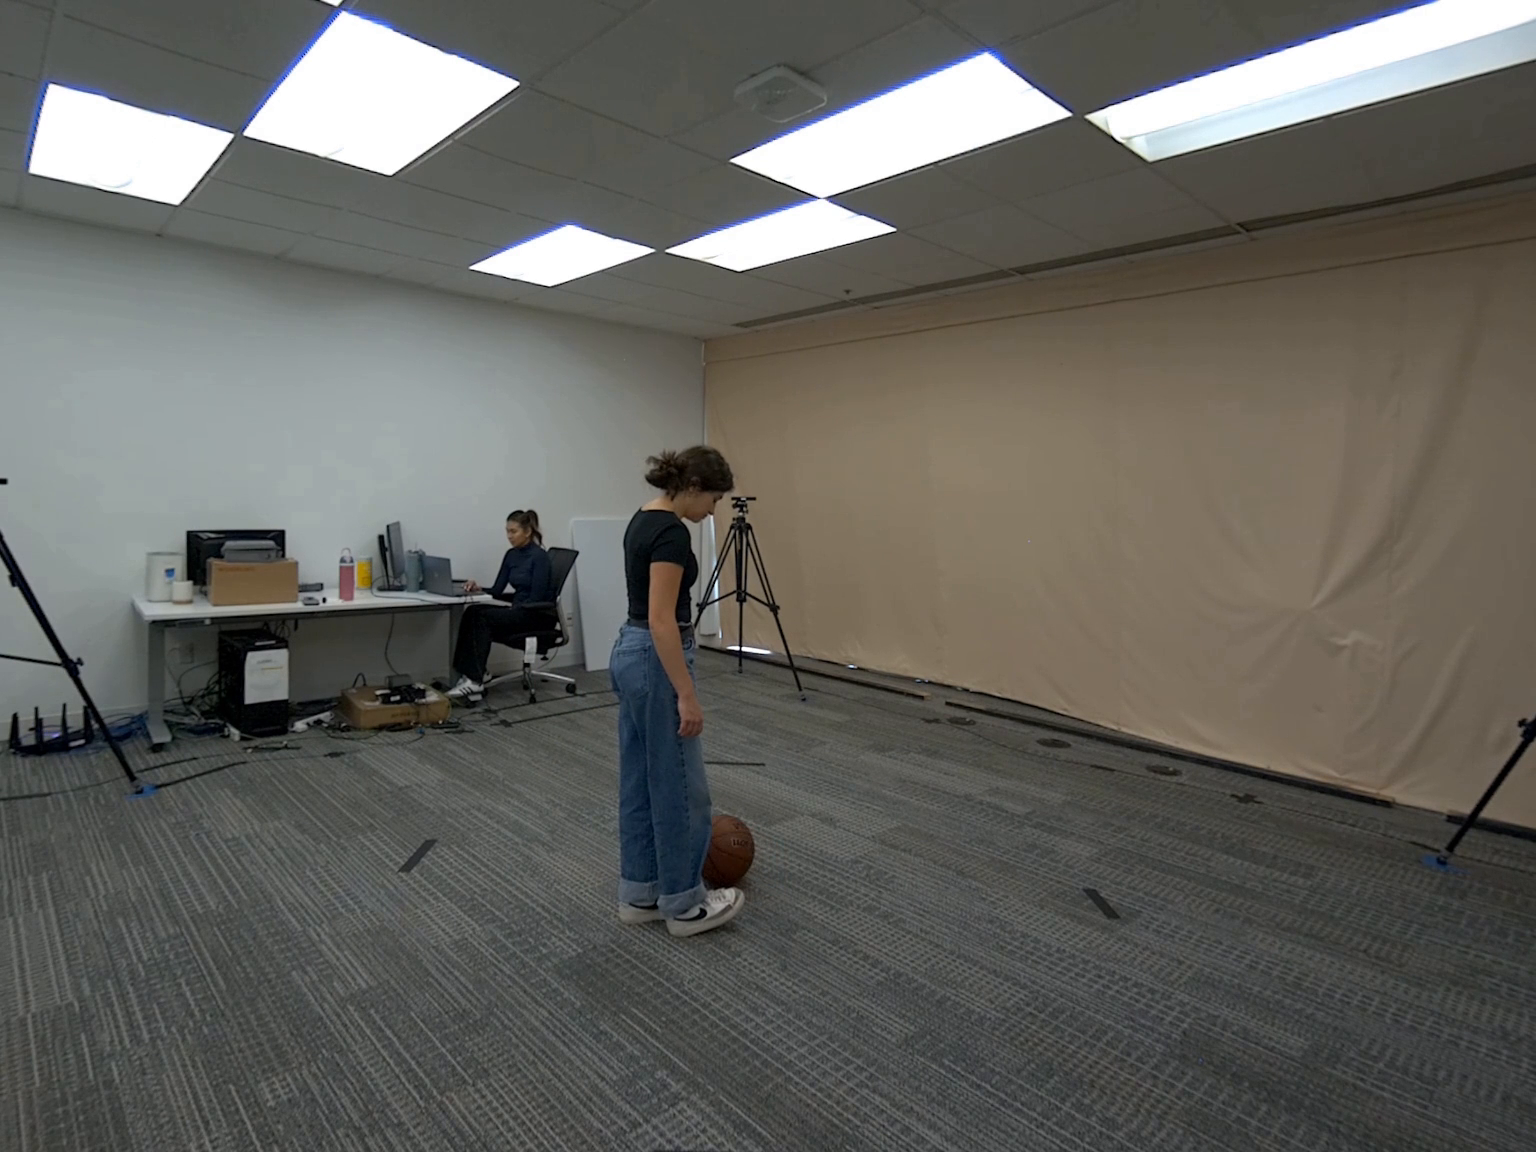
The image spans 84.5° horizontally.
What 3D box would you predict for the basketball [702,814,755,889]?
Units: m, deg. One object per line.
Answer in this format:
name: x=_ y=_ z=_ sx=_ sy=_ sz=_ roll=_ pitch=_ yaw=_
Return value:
basketball: x=-0.173 y=0.987 z=3.055 sx=0.236 sy=0.235 sz=0.237 roll=1 pitch=4 yaw=-1
